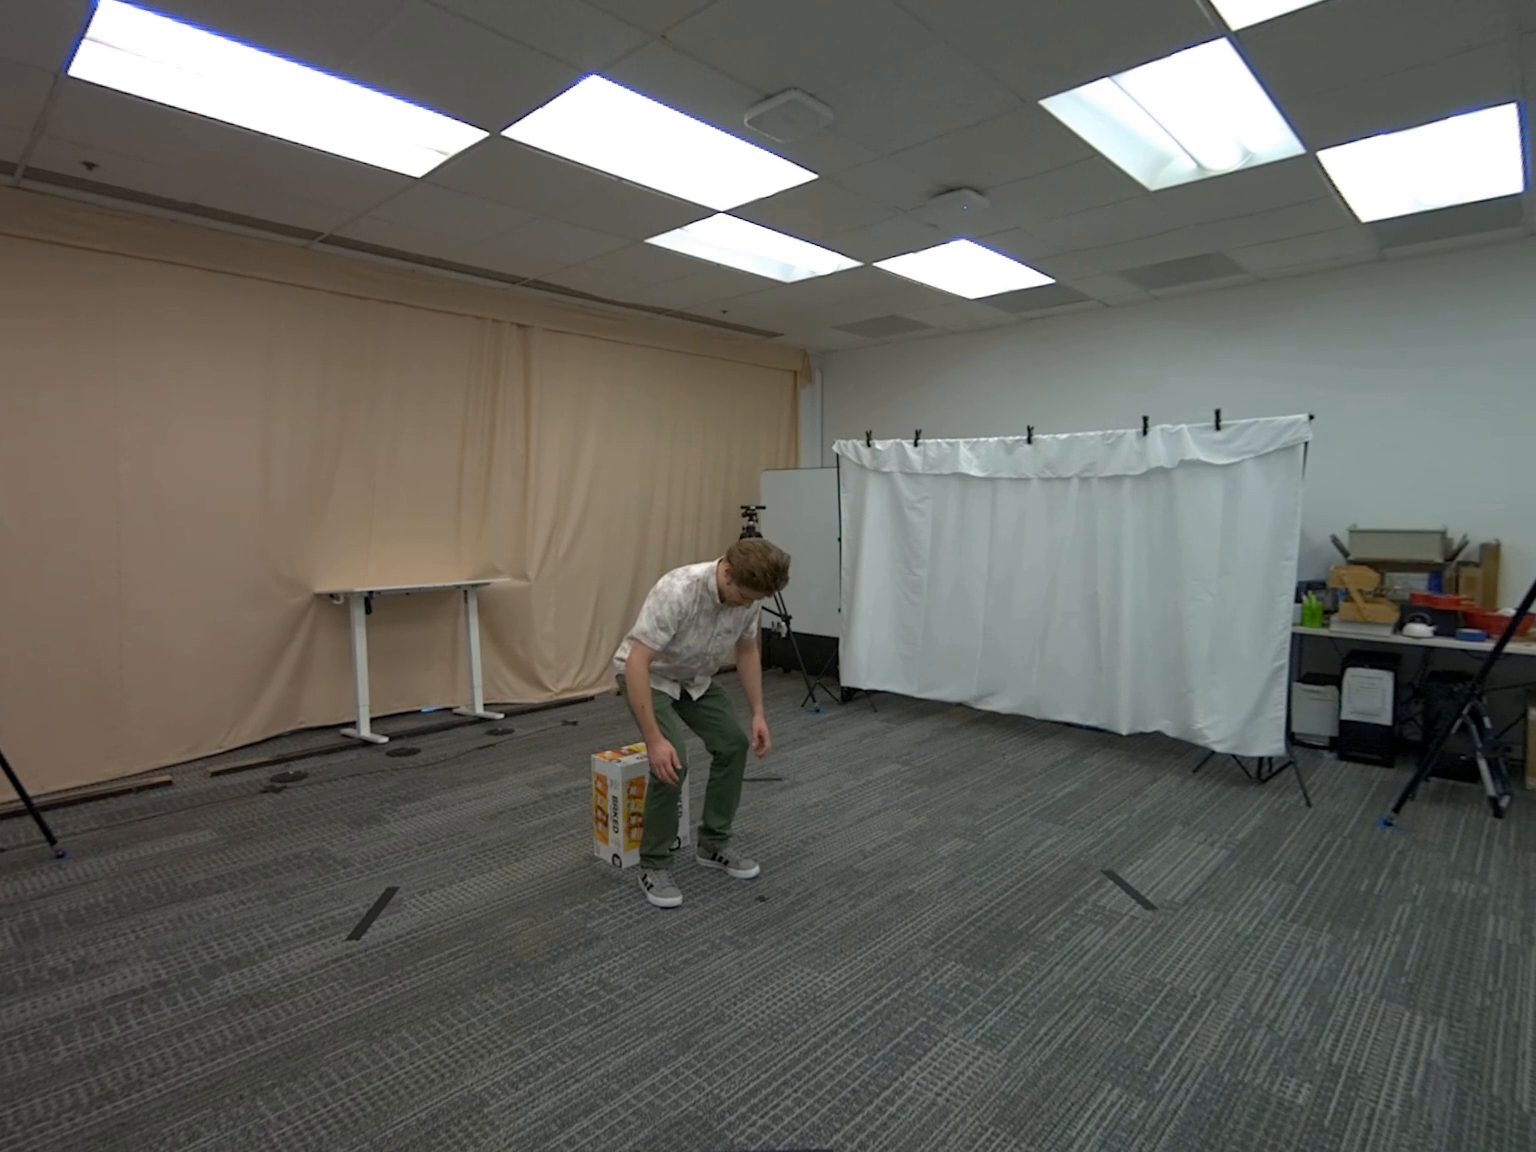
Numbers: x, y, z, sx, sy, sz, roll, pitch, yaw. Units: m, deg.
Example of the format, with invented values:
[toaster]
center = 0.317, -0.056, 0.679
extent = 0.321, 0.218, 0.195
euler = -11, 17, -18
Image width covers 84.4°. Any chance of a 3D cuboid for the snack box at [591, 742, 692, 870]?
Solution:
[snack box]
center = -0.516, 0.911, 3.409
extent = 0.330, 0.404, 0.212
euler = -4, 5, -44
